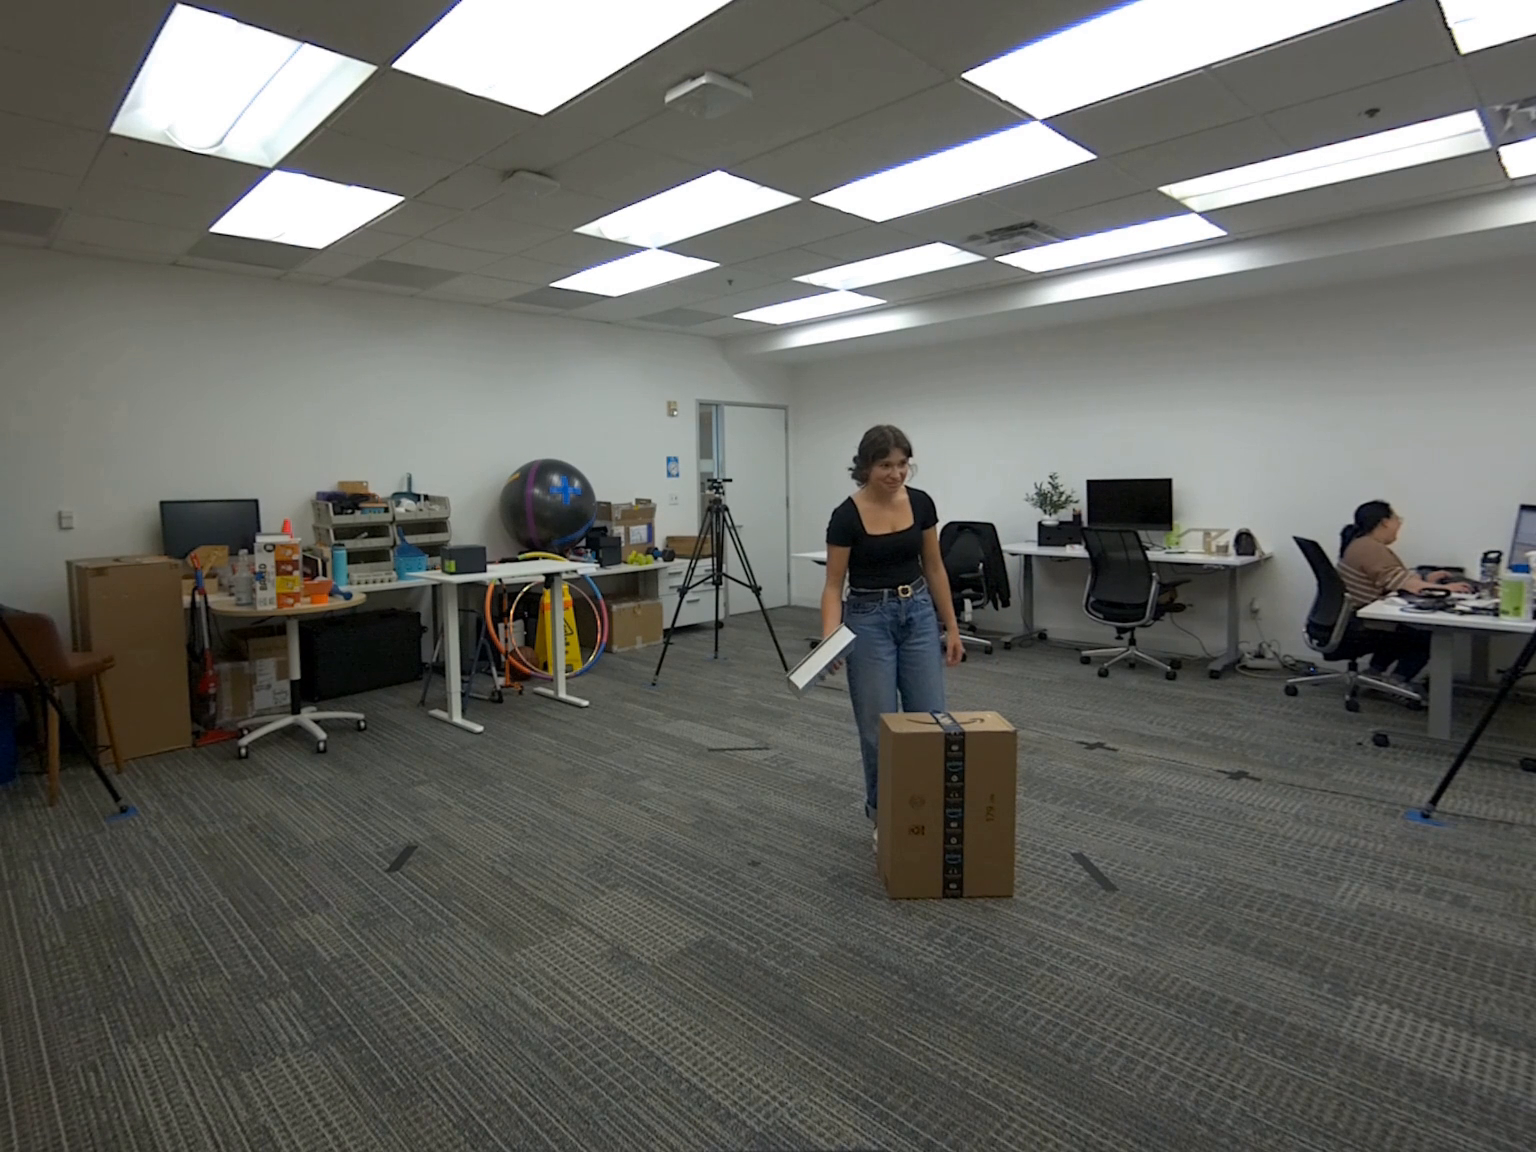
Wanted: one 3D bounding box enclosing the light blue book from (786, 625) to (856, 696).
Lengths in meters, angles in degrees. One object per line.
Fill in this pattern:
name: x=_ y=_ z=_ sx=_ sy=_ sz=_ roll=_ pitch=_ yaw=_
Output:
light blue book: x=0.186 y=0.293 z=2.869 sx=0.260 sy=0.060 sz=0.187 roll=-42 pitch=-17 yaw=-11
